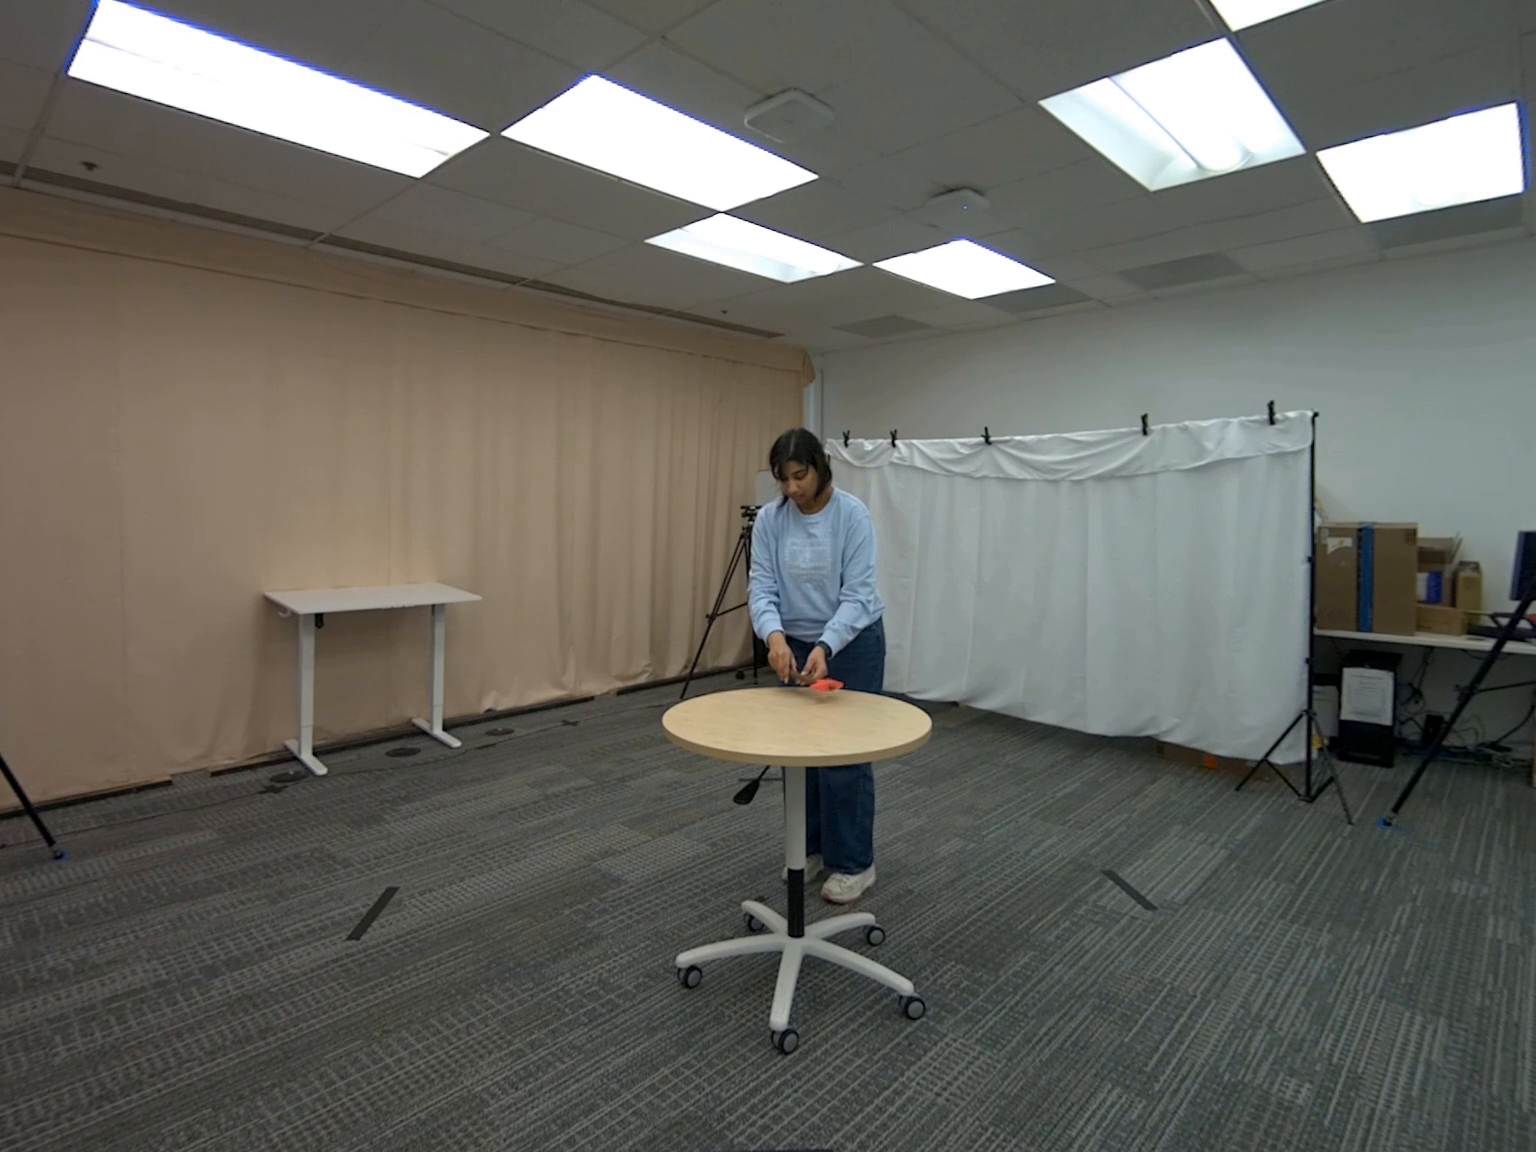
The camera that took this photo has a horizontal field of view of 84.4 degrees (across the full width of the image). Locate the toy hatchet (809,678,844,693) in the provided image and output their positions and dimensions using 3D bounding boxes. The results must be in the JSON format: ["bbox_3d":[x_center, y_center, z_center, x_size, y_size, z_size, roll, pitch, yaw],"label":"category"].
[{"bbox_3d":[0.140,0.323,2.682,0.129,0.029,0.275,0,4,-19],"label":"toy hatchet"}]
